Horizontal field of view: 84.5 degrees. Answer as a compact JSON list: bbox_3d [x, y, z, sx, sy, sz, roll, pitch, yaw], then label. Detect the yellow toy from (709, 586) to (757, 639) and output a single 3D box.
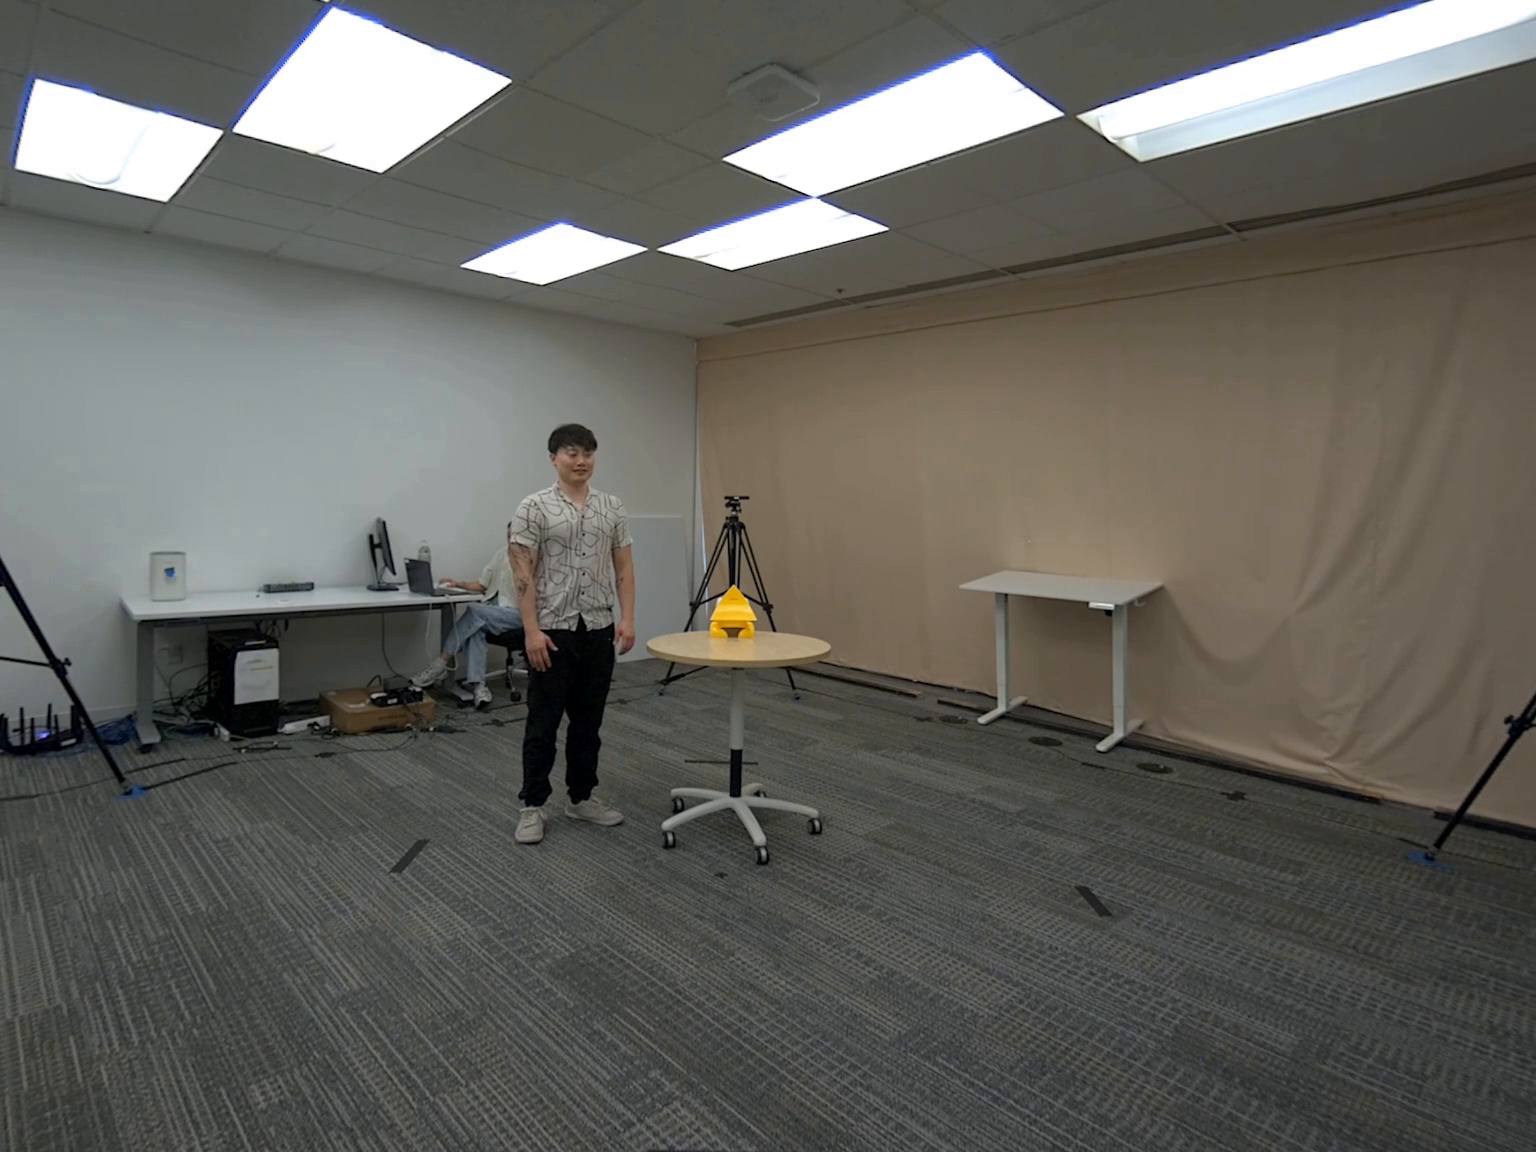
[{"bbox_3d":[-0.171,0.143,3.750,0.204,0.229,0.195,1,7,-5],"label":"yellow toy"}]
